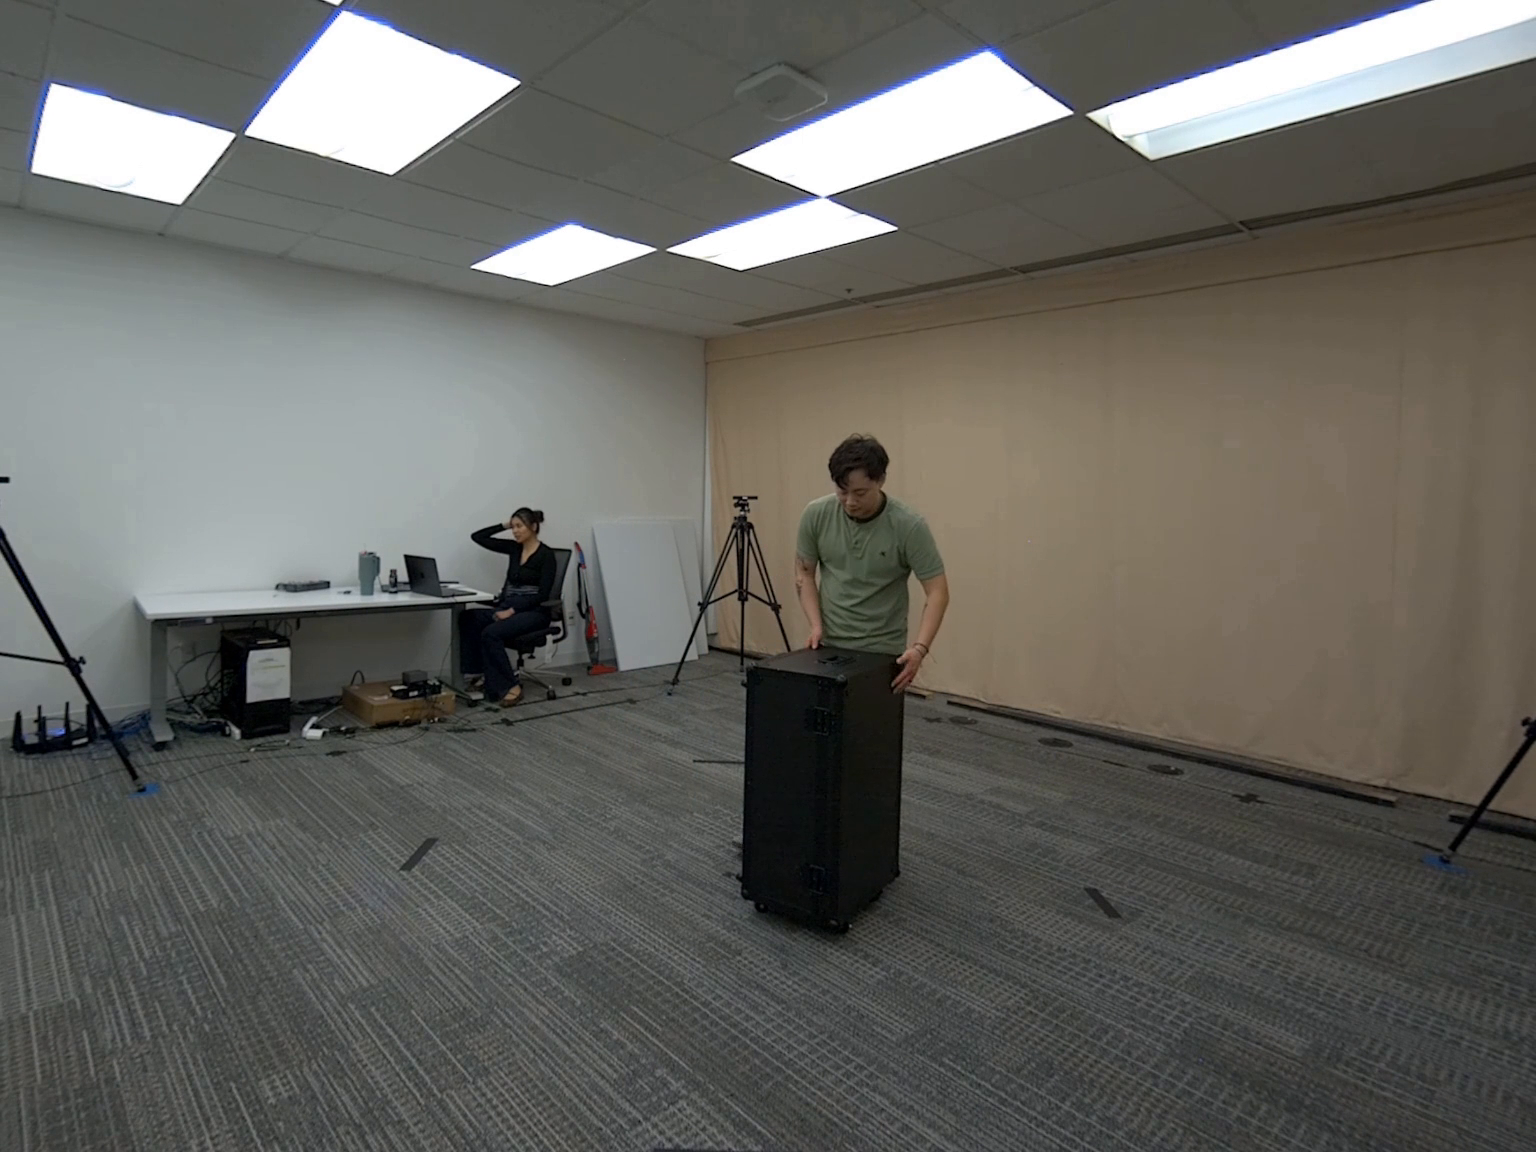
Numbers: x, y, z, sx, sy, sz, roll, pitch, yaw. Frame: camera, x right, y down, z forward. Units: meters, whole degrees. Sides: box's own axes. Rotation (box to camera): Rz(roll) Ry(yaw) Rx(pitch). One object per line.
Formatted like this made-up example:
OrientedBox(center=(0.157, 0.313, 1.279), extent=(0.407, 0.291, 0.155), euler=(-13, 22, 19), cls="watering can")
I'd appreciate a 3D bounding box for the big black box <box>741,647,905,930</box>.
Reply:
OrientedBox(center=(0.177, 0.708, 2.849), extent=(0.405, 0.859, 0.510), euler=(3, 4, 34), cls="big black box")
